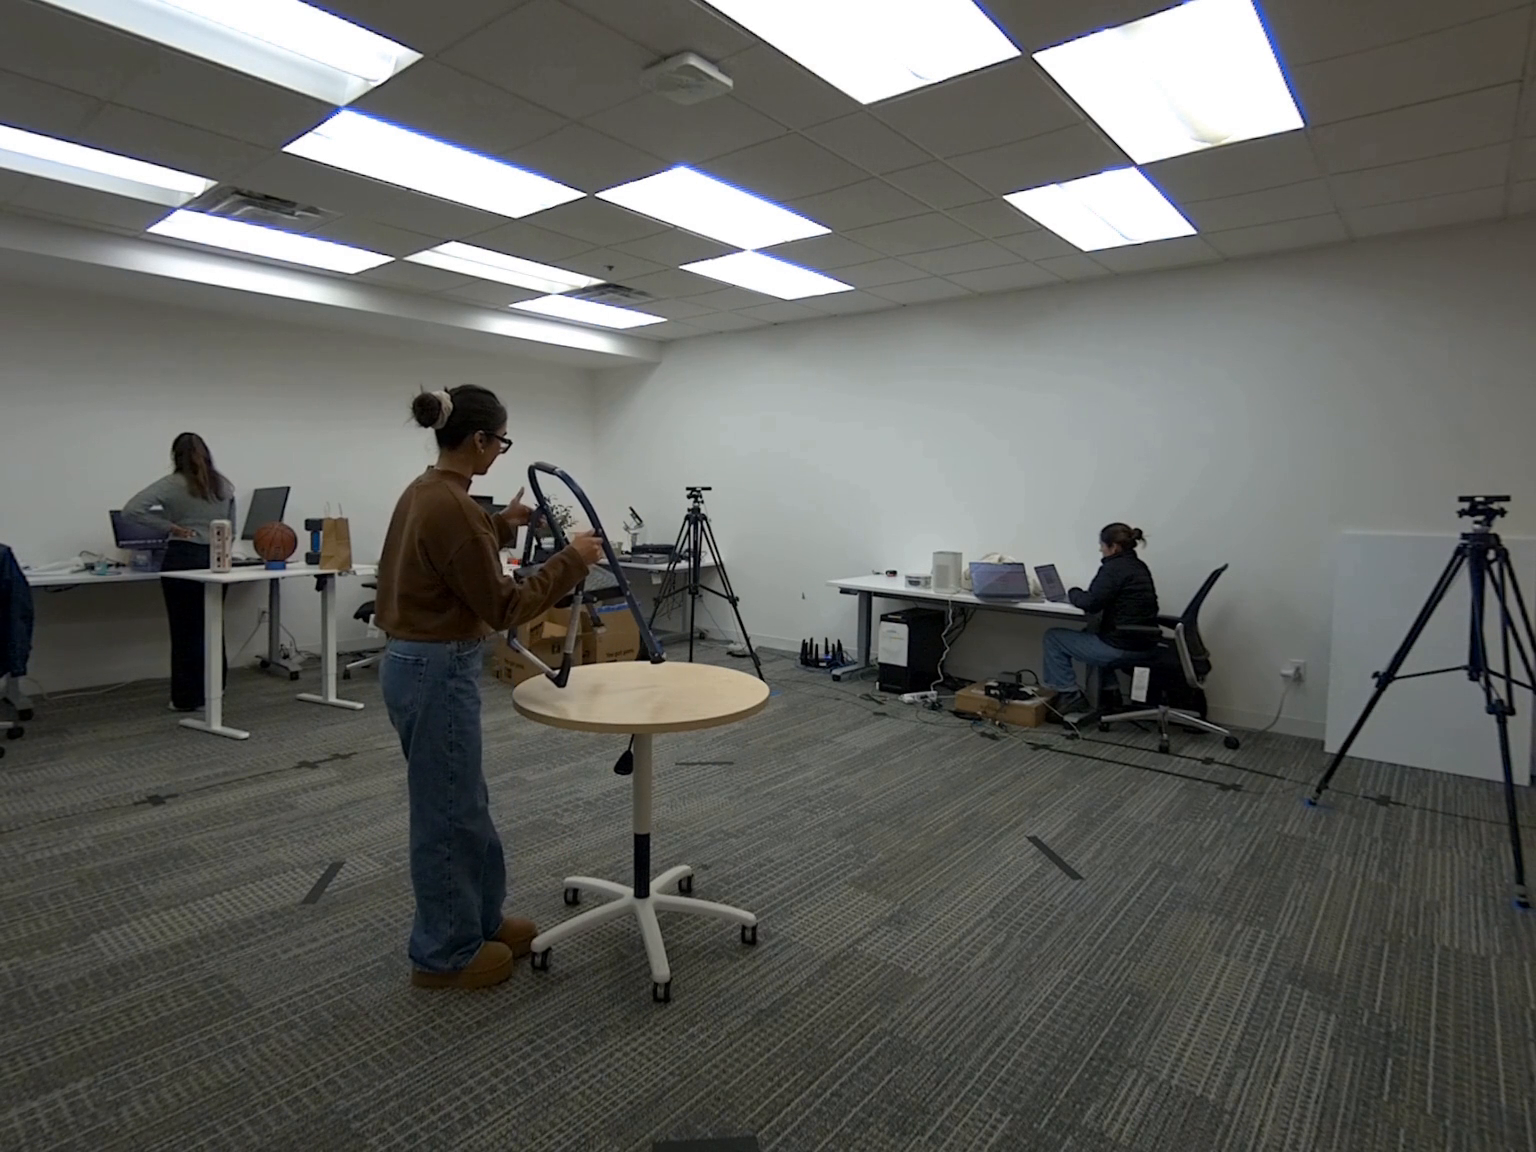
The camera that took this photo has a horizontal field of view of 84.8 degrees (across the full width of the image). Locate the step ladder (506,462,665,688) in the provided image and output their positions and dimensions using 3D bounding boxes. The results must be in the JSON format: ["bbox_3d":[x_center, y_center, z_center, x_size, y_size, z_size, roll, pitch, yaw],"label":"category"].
[{"bbox_3d":[-0.597,-0.044,2.572,0.341,0.598,0.447,-11,18,-36],"label":"step ladder"}]
